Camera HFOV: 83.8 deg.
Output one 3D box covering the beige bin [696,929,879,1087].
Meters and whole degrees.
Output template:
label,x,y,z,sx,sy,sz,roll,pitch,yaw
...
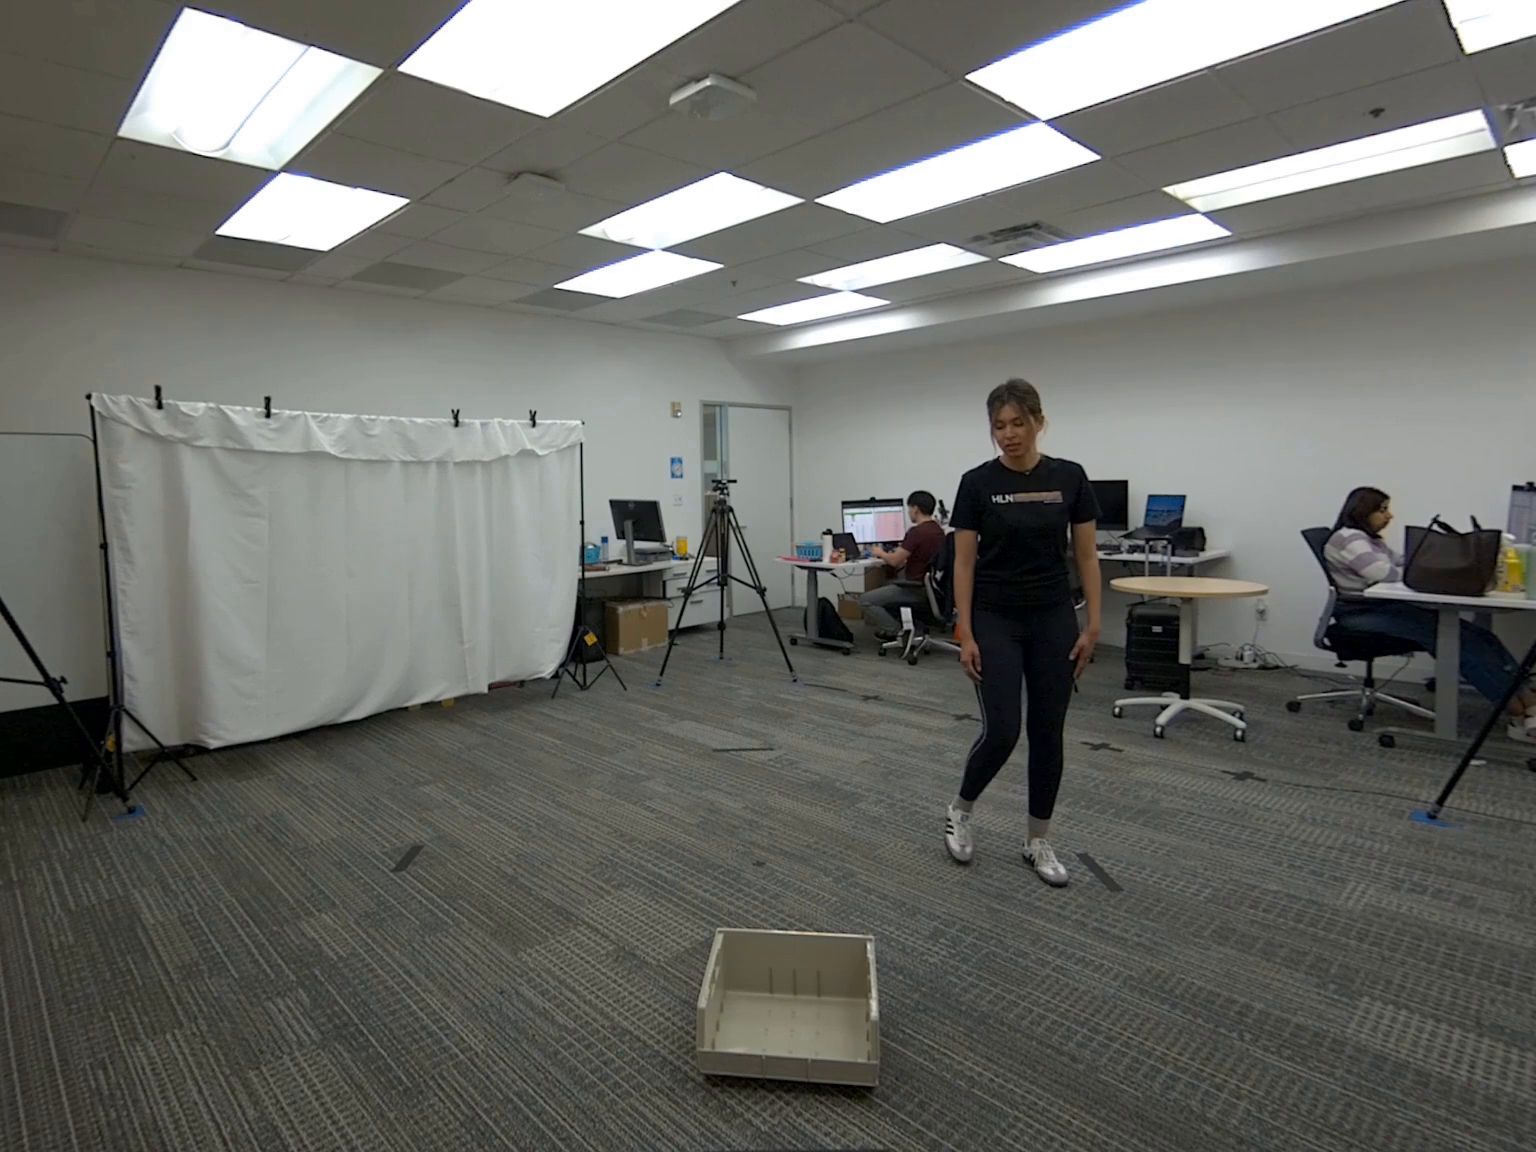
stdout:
label,x,y,z,sx,sy,sz,roll,pitch,yaw
beige bin,0.066,1.072,2.116,0.425,0.188,0.376,-1,5,7
